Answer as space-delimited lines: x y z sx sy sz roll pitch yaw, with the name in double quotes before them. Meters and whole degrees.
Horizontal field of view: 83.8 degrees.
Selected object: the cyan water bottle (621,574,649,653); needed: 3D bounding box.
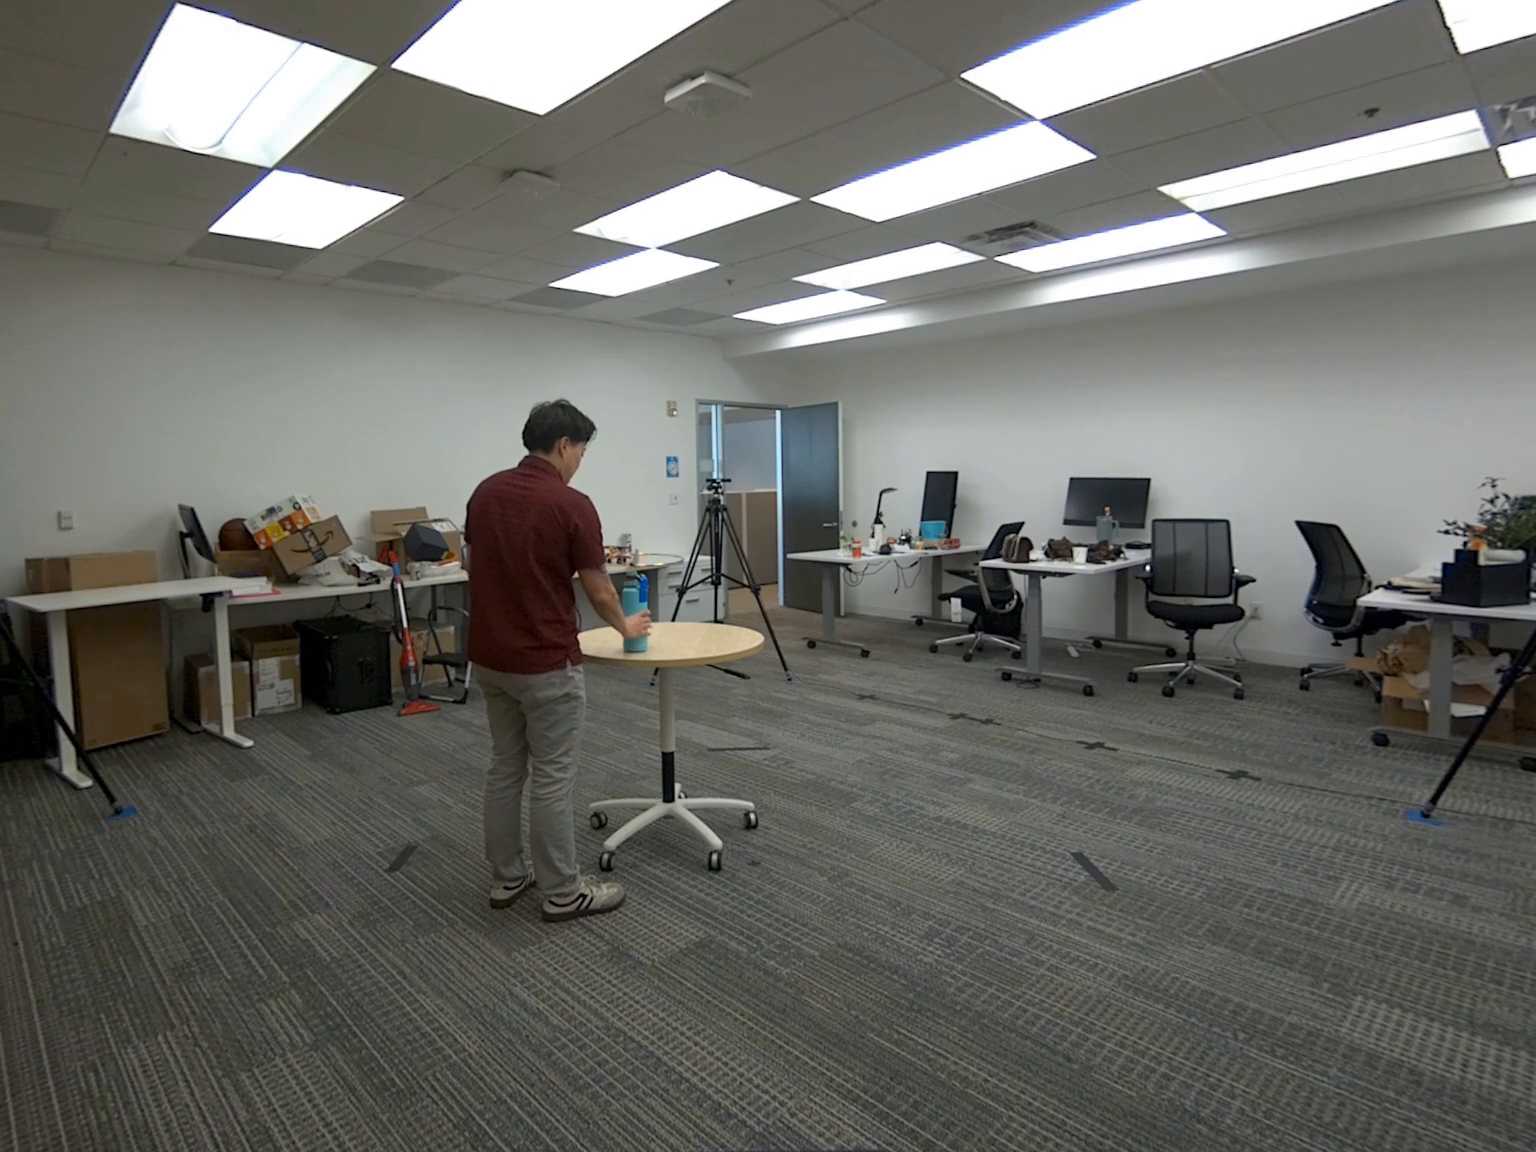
"cyan water bottle" -0.481 0.126 3.099 0.092 0.283 0.092 1 1 -2
